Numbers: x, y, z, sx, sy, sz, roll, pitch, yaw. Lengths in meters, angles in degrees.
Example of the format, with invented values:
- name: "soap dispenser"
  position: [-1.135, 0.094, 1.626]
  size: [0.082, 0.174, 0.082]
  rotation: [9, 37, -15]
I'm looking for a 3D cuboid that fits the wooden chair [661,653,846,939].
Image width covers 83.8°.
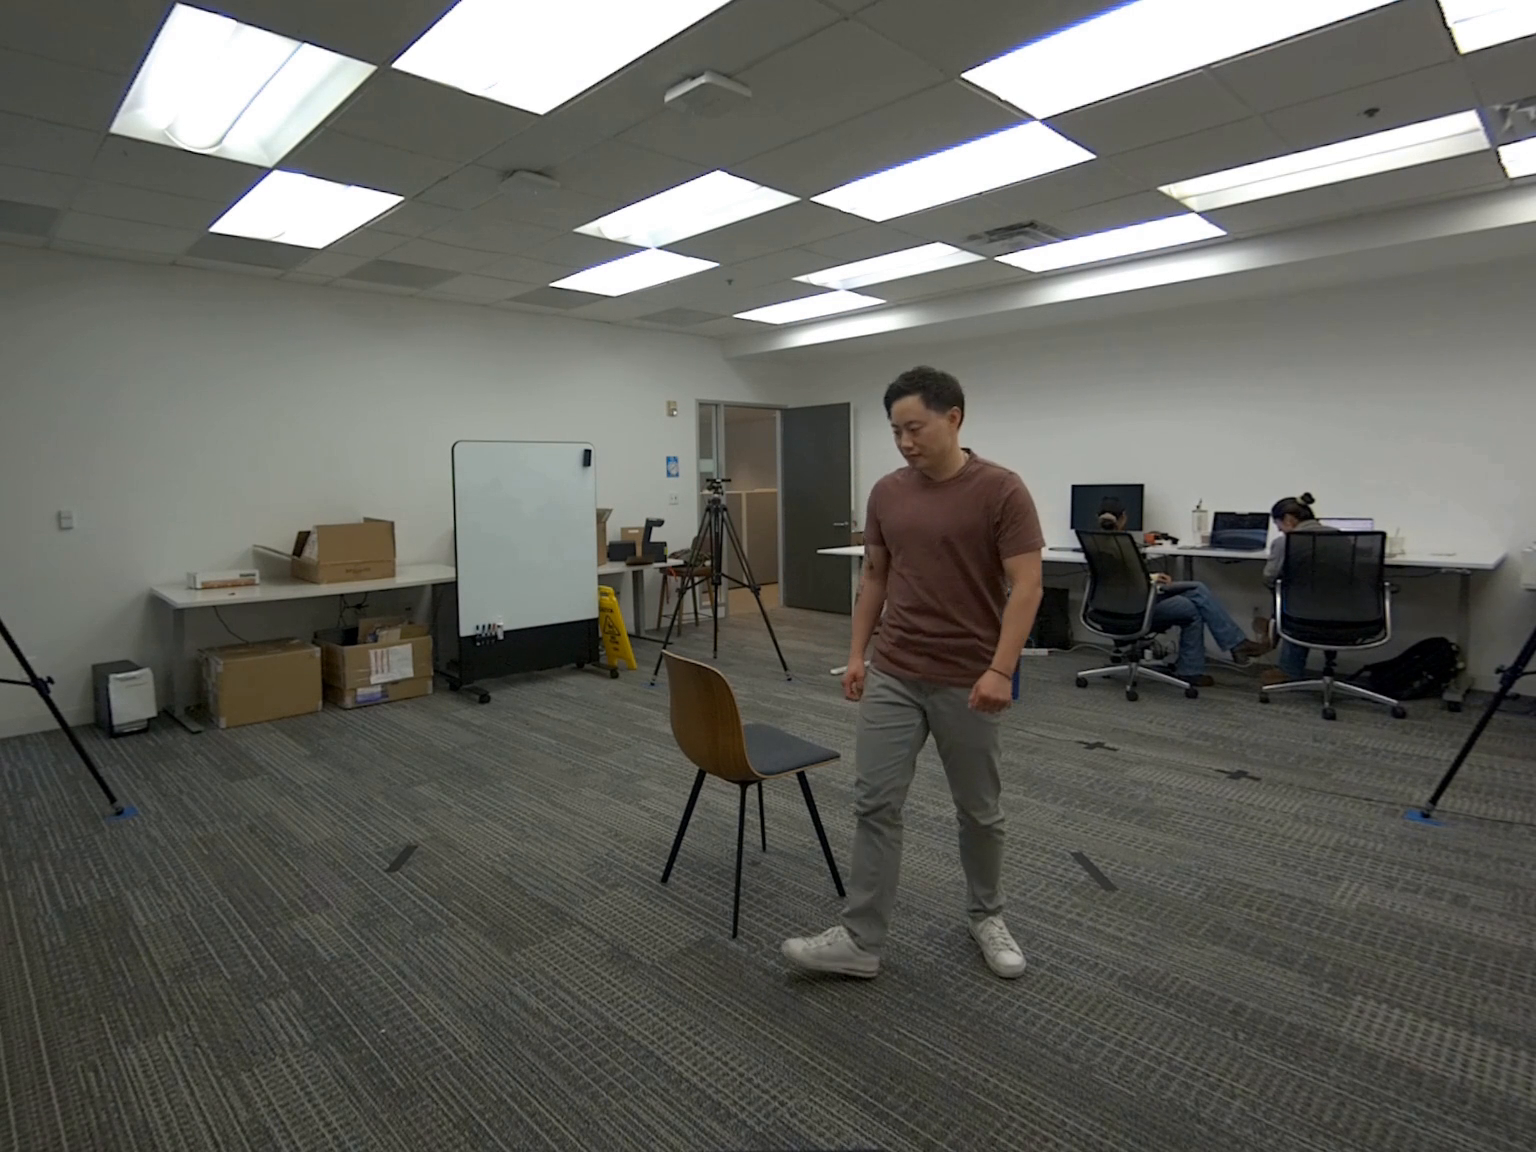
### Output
- name: "wooden chair"
  position: [-0.057, 0.644, 2.875]
  size: [0.511, 0.872, 0.492]
  rotation: [-9, 8, -35]
